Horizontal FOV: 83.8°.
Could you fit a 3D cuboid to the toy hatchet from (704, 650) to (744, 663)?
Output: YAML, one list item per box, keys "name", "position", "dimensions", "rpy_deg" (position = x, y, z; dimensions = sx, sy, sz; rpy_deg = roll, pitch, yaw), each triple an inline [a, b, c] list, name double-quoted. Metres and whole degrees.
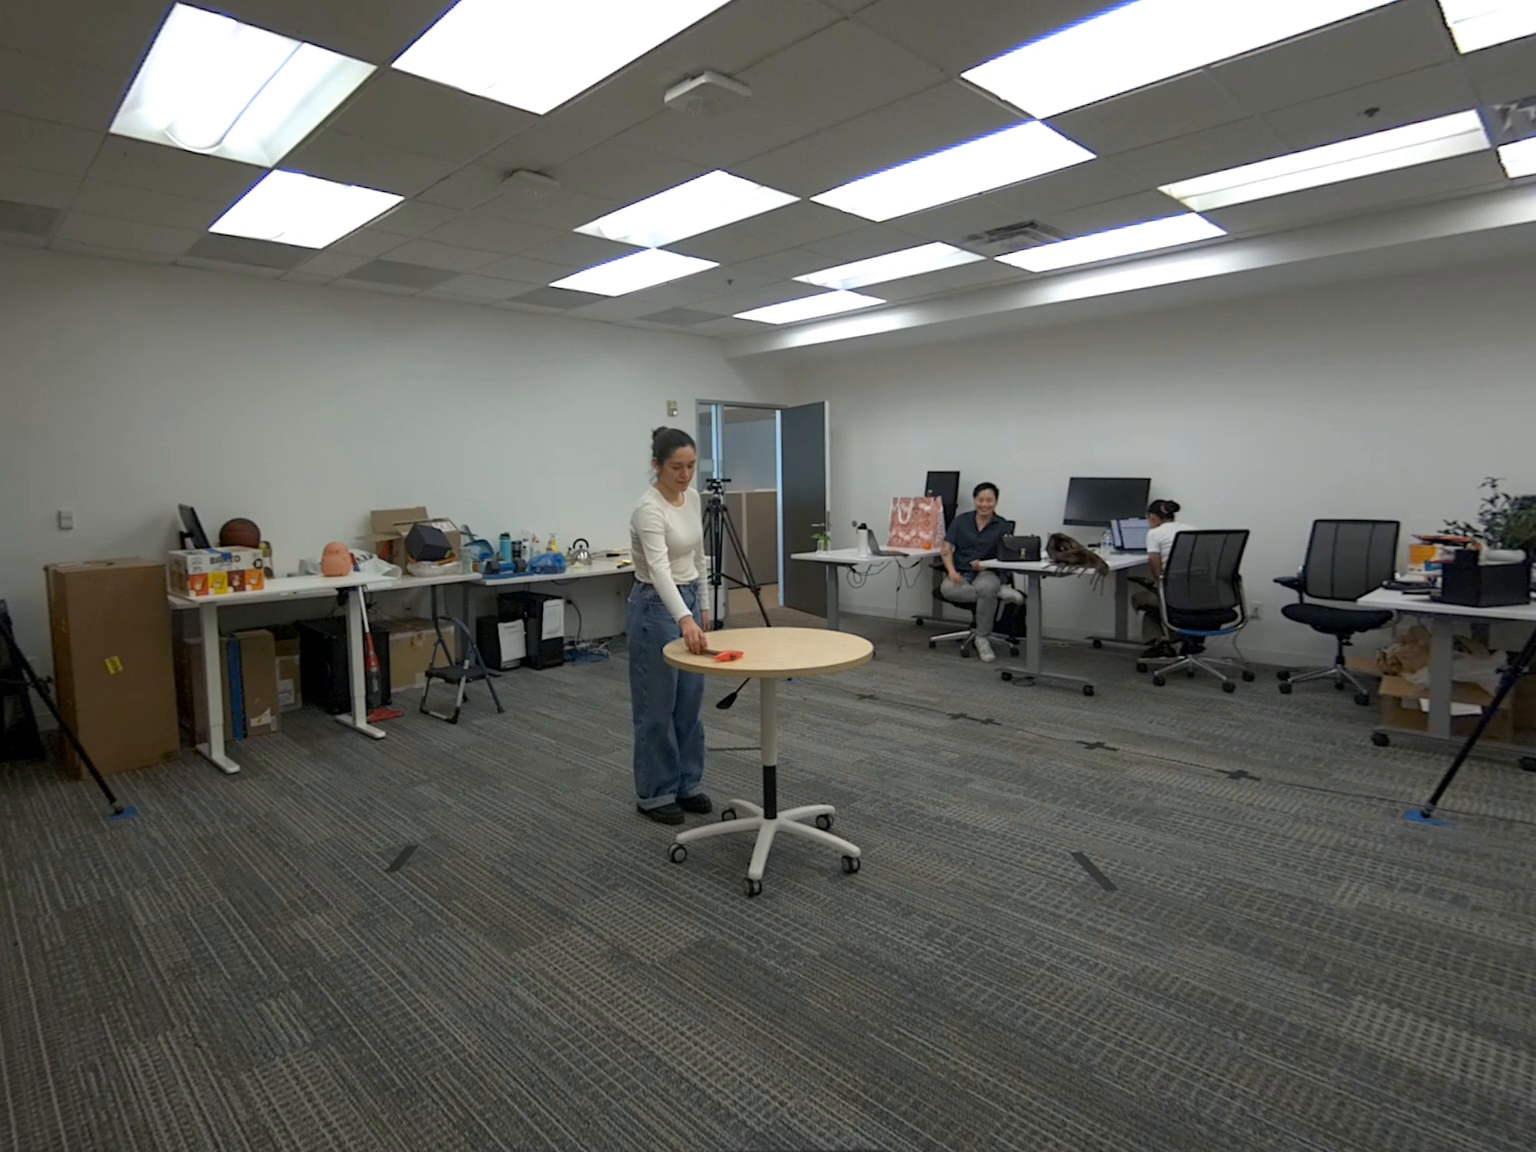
- name: "toy hatchet"
  position: [-0.168, 0.267, 3.013]
  dimensions: [0.128, 0.029, 0.276]
  rpy_deg: [-4, 6, -24]
